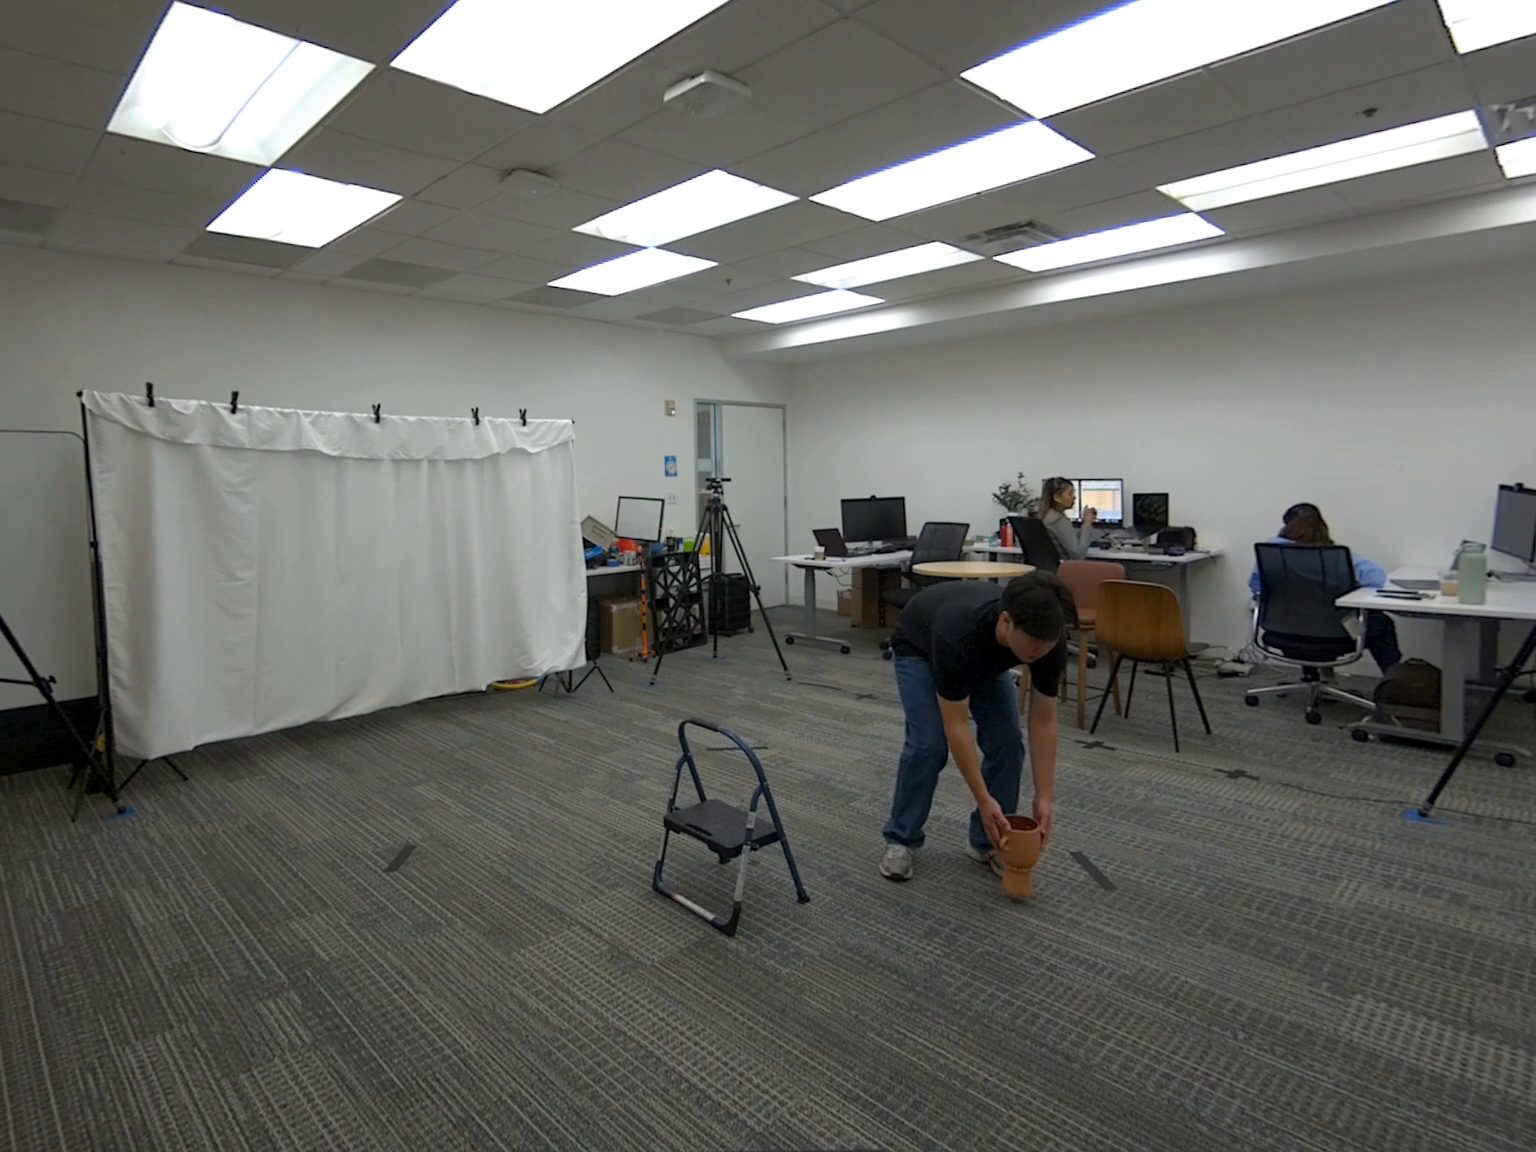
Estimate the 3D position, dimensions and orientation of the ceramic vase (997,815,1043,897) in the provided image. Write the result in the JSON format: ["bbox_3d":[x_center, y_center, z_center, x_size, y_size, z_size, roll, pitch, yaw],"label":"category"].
[{"bbox_3d":[0.825,0.910,2.775,0.137,0.218,0.157,1,8,16],"label":"ceramic vase"}]
